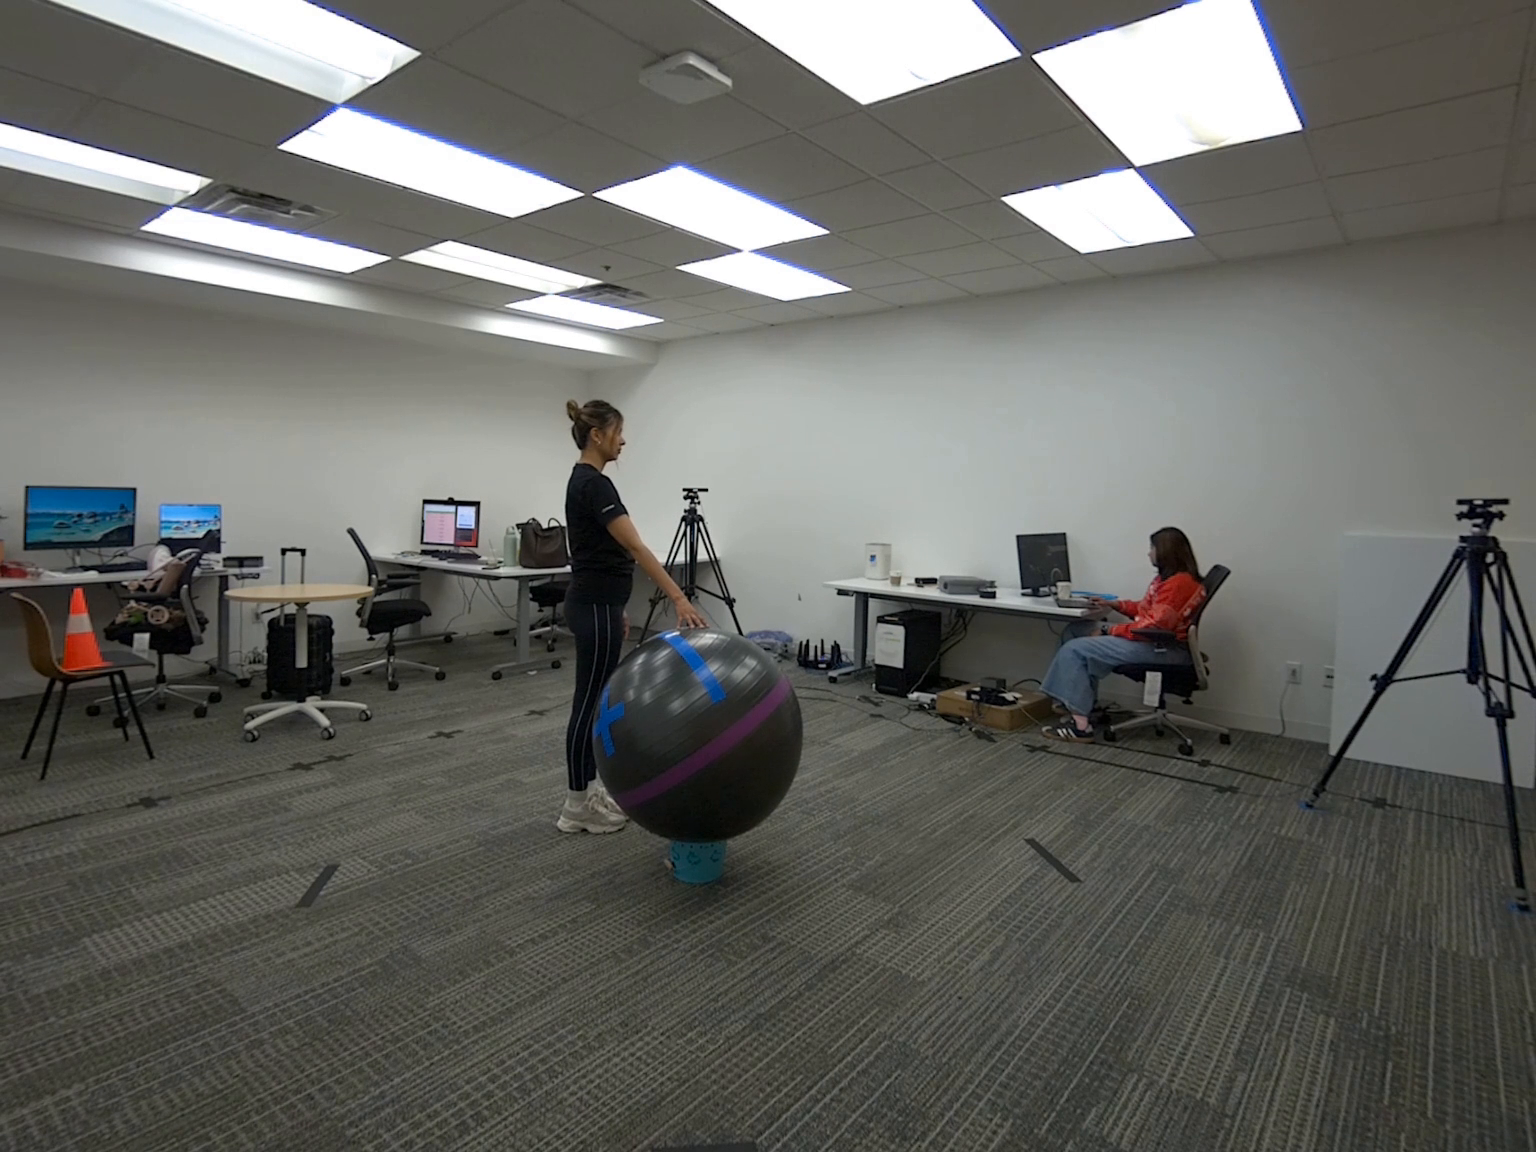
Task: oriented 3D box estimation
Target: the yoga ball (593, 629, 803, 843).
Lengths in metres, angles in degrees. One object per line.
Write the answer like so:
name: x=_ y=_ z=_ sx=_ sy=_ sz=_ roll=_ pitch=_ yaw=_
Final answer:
yoga ball: x=-0.265 y=0.569 z=3.068 sx=0.757 sy=0.755 sz=0.762 roll=1 pitch=4 yaw=-2
